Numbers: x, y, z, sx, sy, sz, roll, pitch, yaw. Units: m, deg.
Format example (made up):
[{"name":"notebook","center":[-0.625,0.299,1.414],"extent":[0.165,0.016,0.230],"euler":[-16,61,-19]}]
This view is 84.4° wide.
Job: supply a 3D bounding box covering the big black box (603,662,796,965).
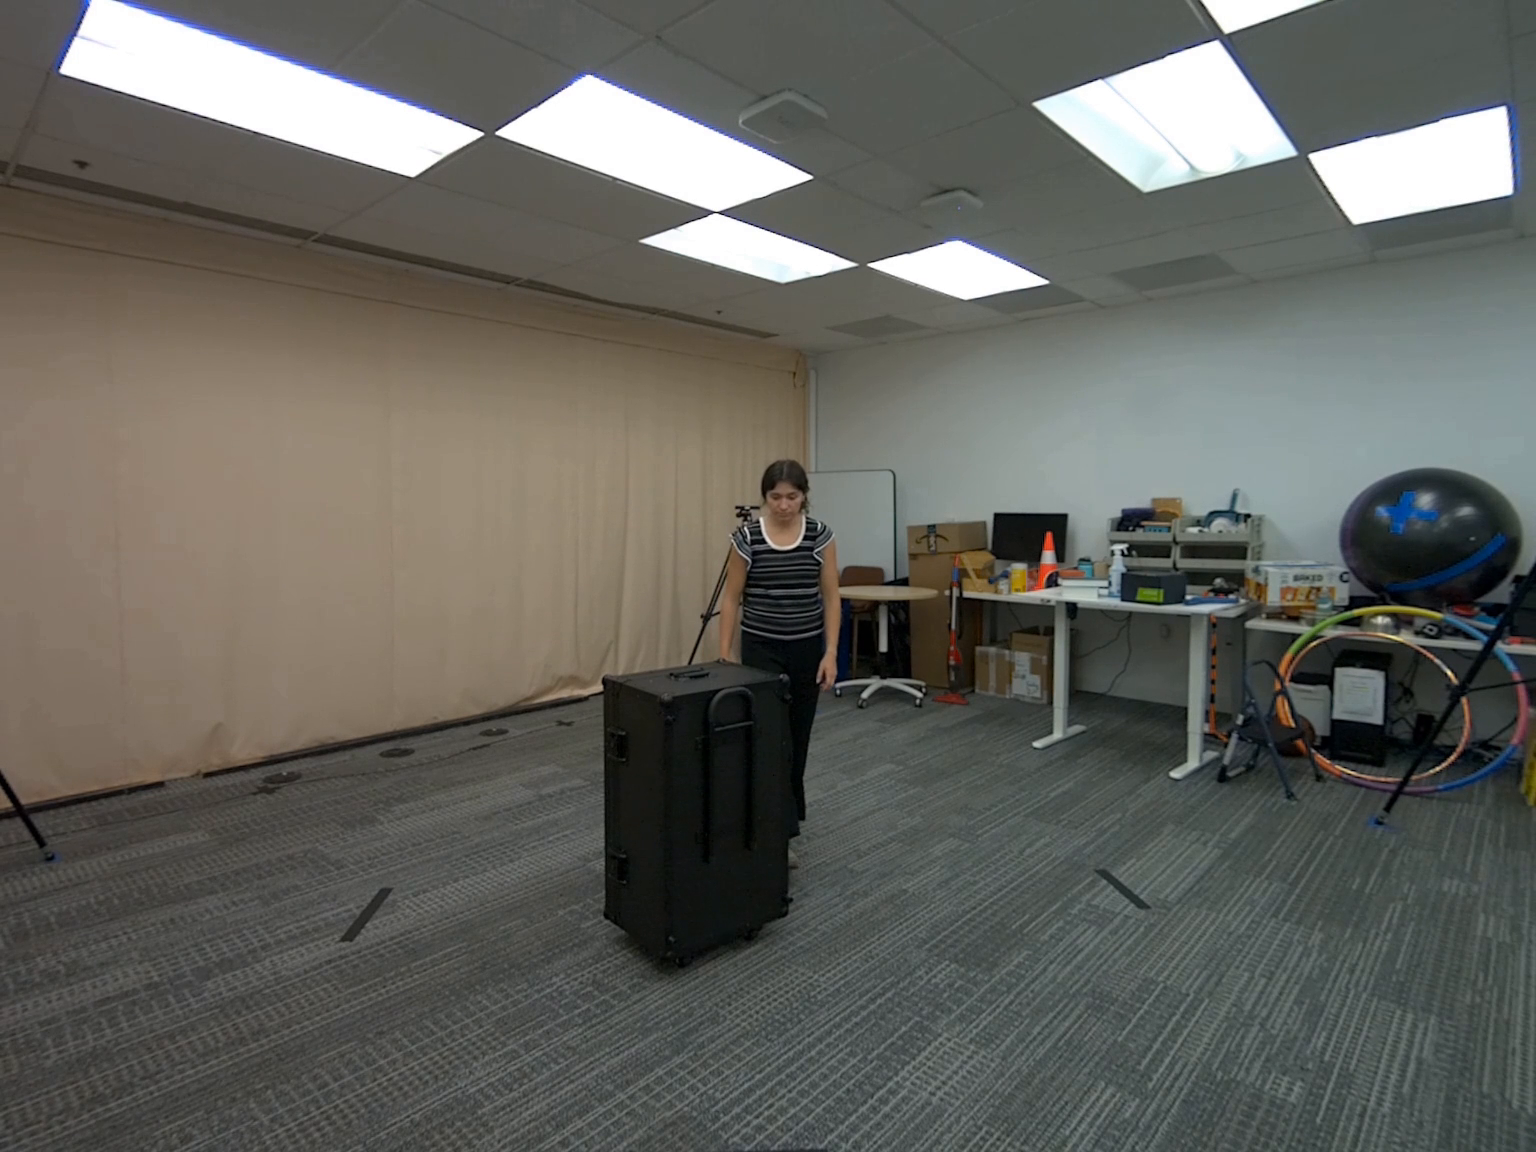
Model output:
[{"name":"big black box","center":[-0.220,0.746,2.689],"extent":[0.505,0.859,0.409],"euler":[-2,5,-38]}]
